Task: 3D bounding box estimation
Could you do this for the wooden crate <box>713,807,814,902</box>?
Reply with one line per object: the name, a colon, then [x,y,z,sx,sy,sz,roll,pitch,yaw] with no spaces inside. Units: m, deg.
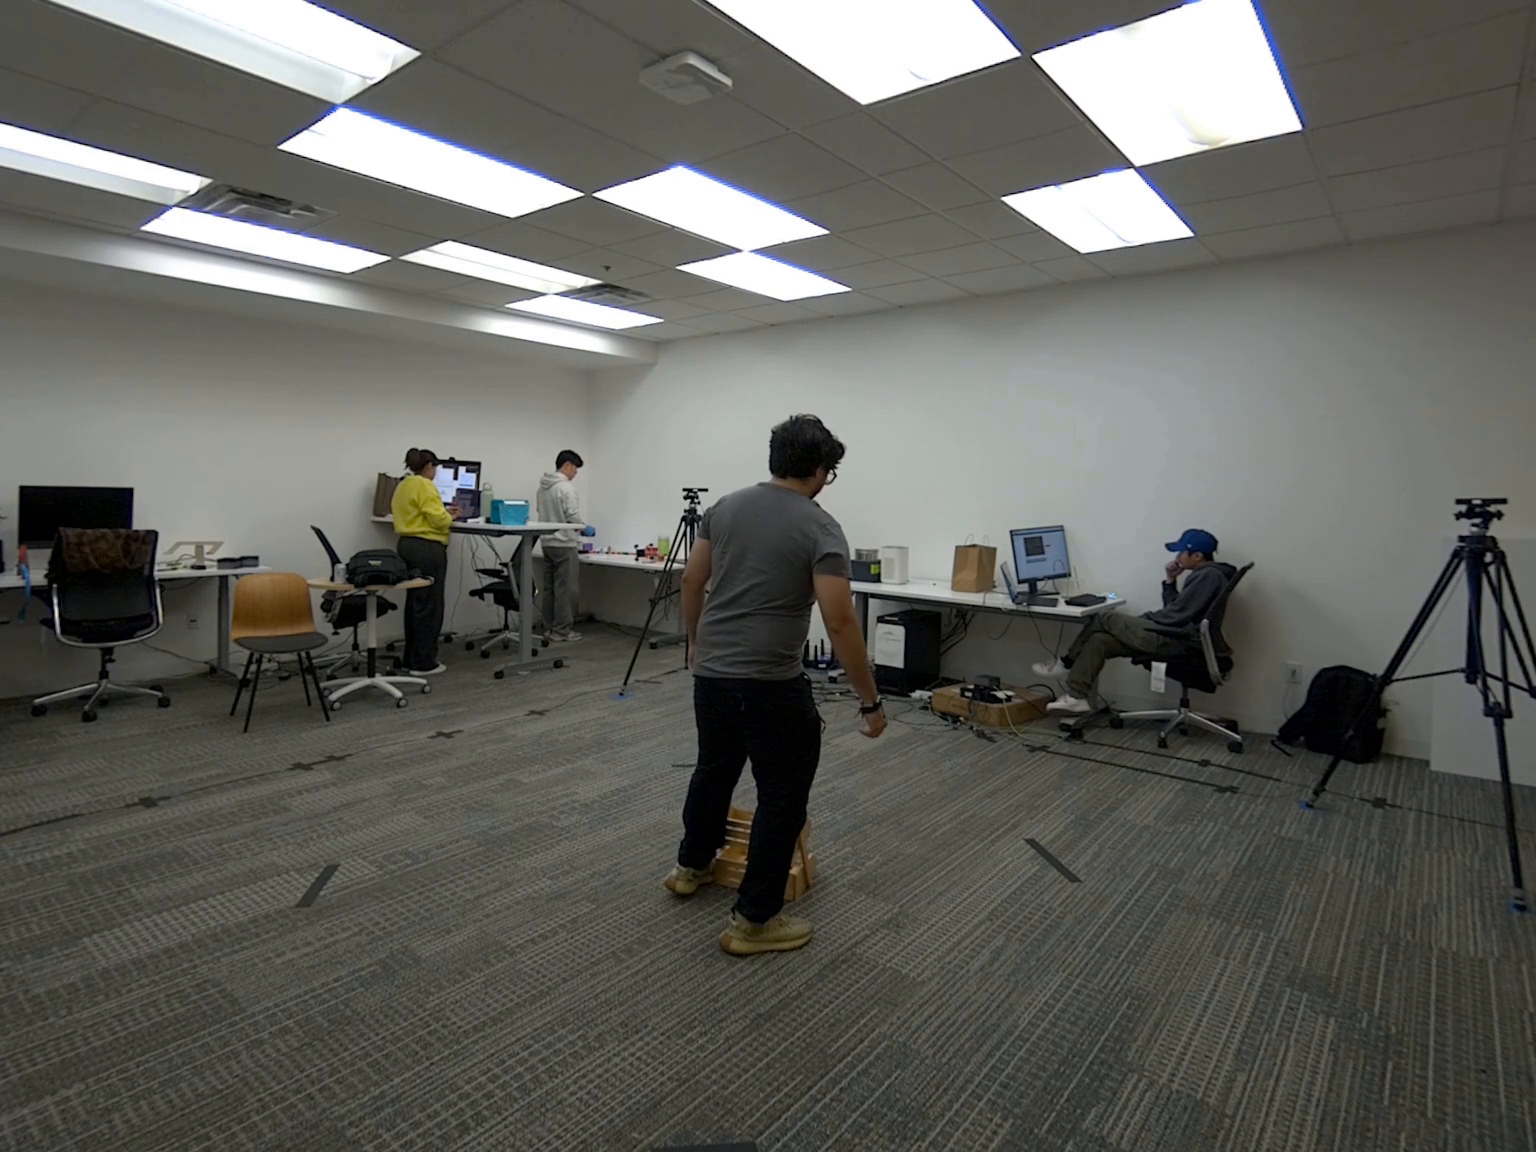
wooden crate: [-0.013,0.947,3.024,0.332,0.272,0.296,2,4,22]
